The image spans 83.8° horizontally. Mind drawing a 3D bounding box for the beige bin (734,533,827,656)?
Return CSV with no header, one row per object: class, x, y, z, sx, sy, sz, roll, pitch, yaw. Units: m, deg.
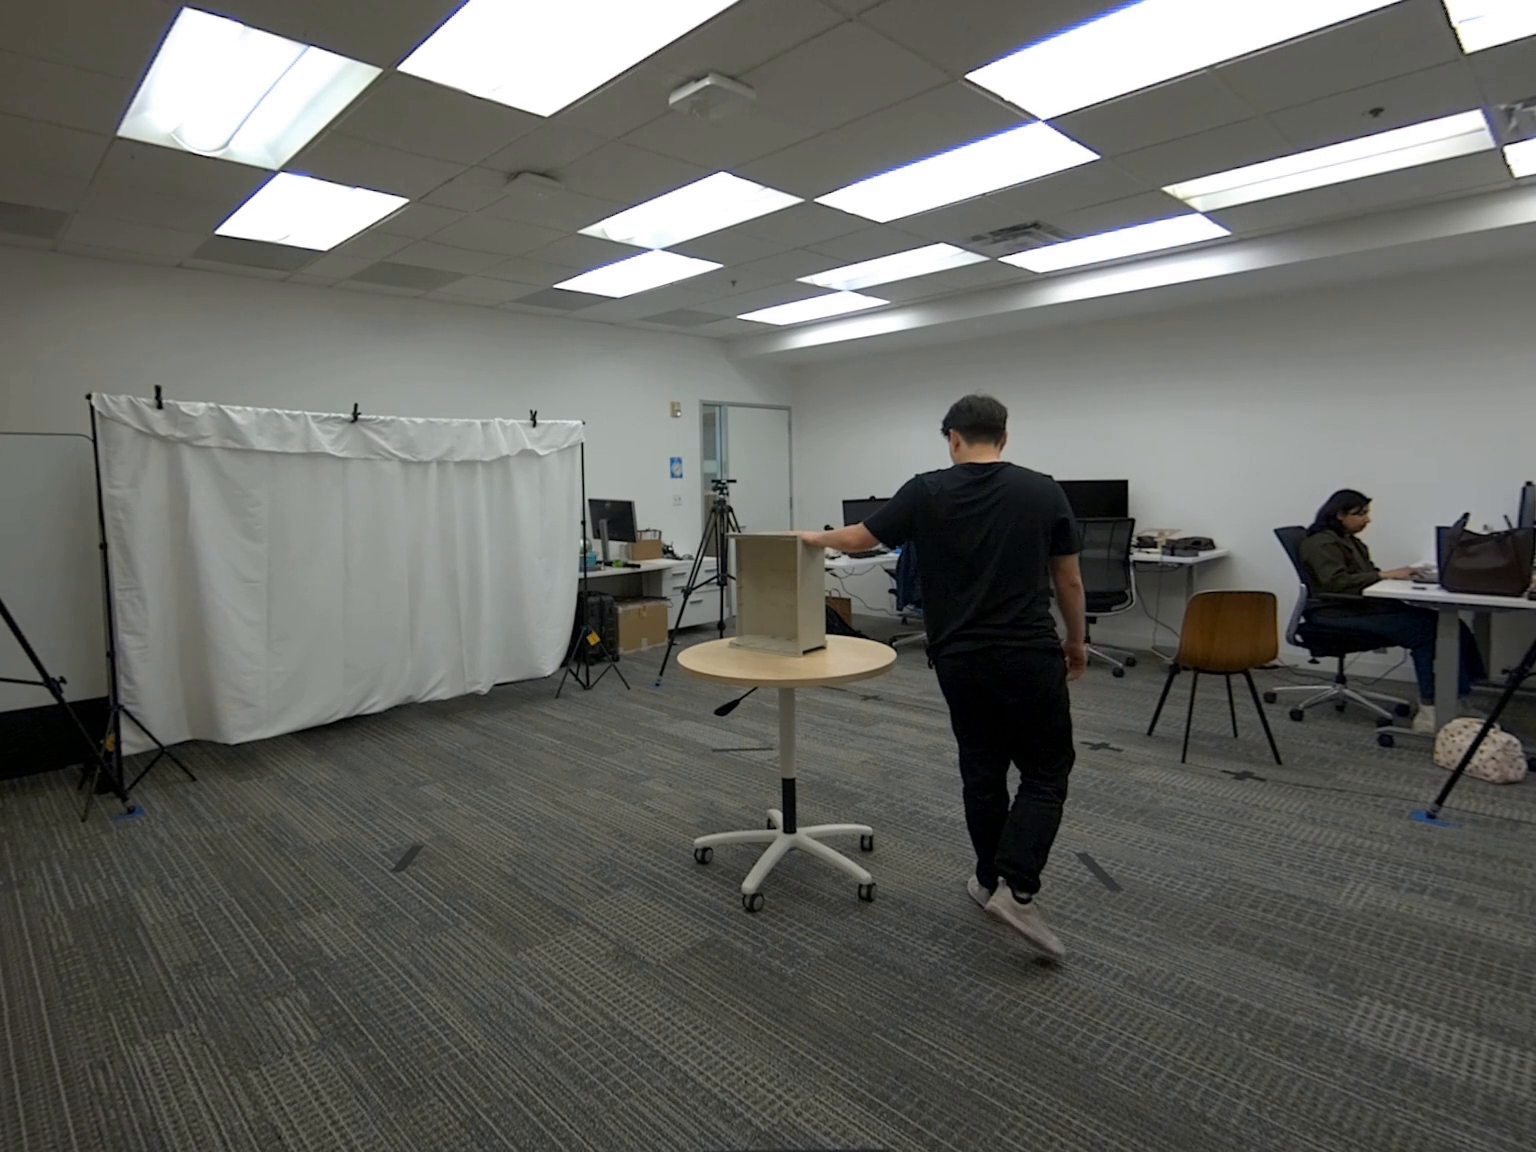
beige bin,0.021,0.054,3.112,0.388,0.421,0.184,2,4,40
